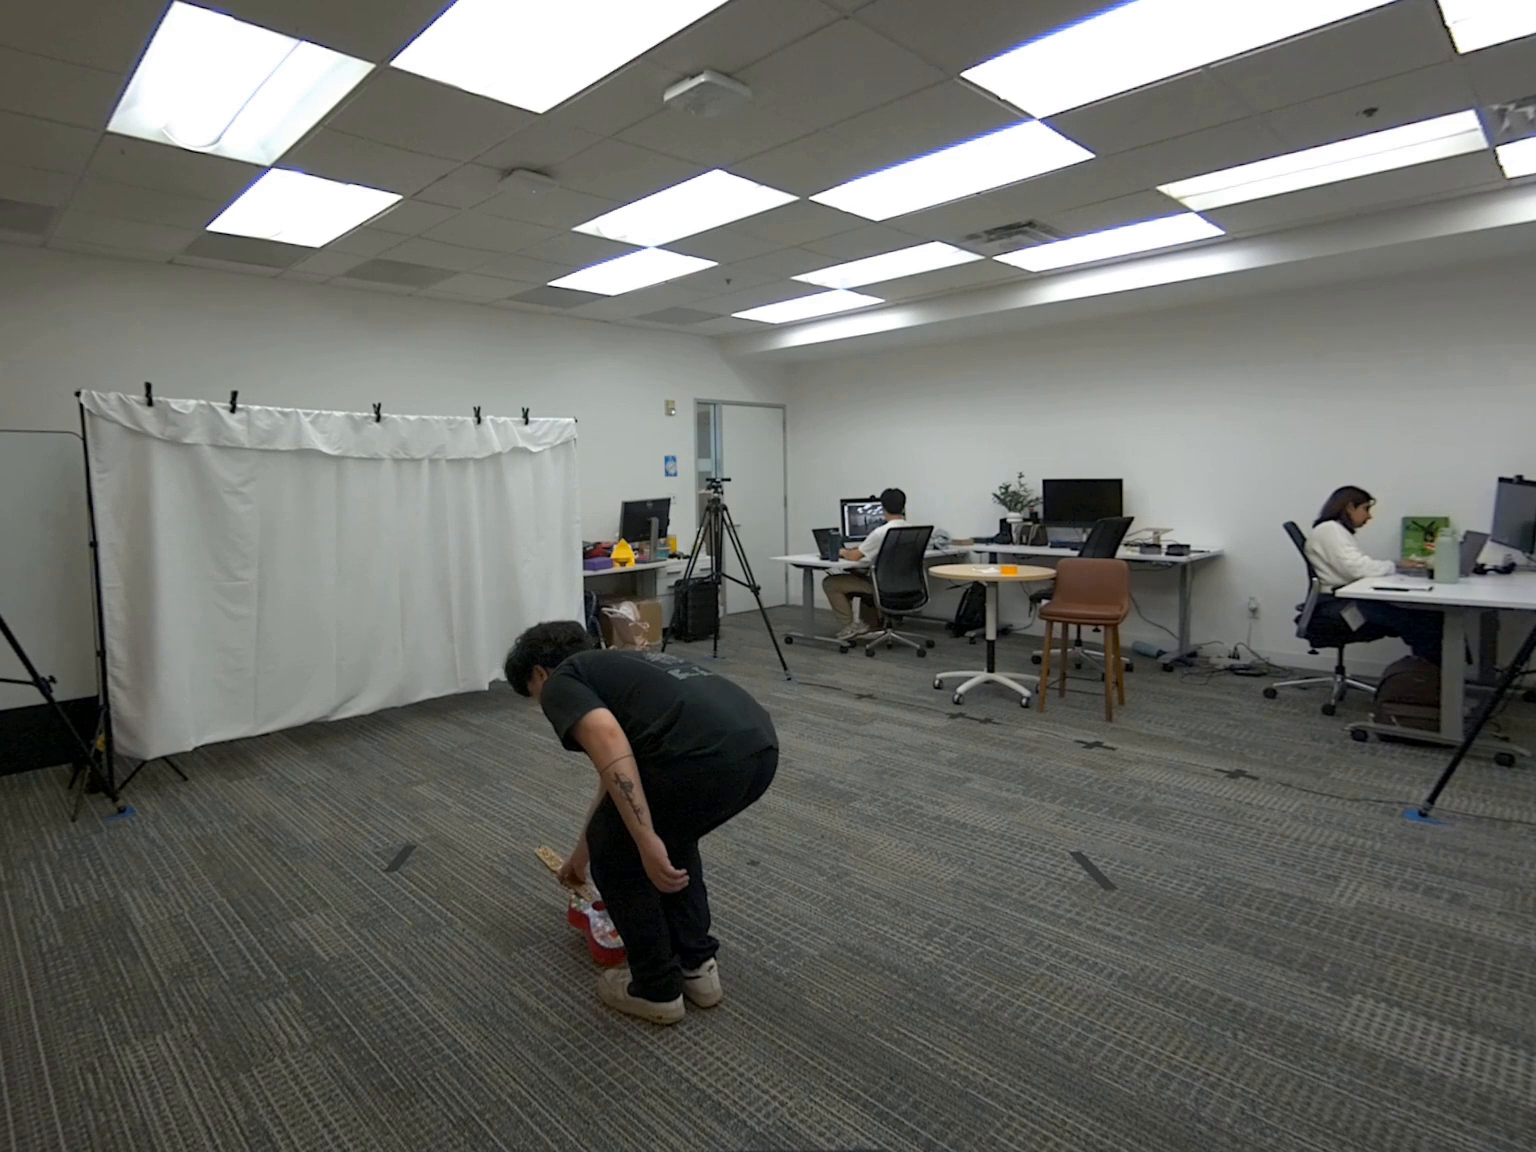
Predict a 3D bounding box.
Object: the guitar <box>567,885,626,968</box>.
[{"bbox_3d":[-0.548,1.001,2.666,0.188,0.070,0.517,-4,22,-39],"label":"guitar"}]
